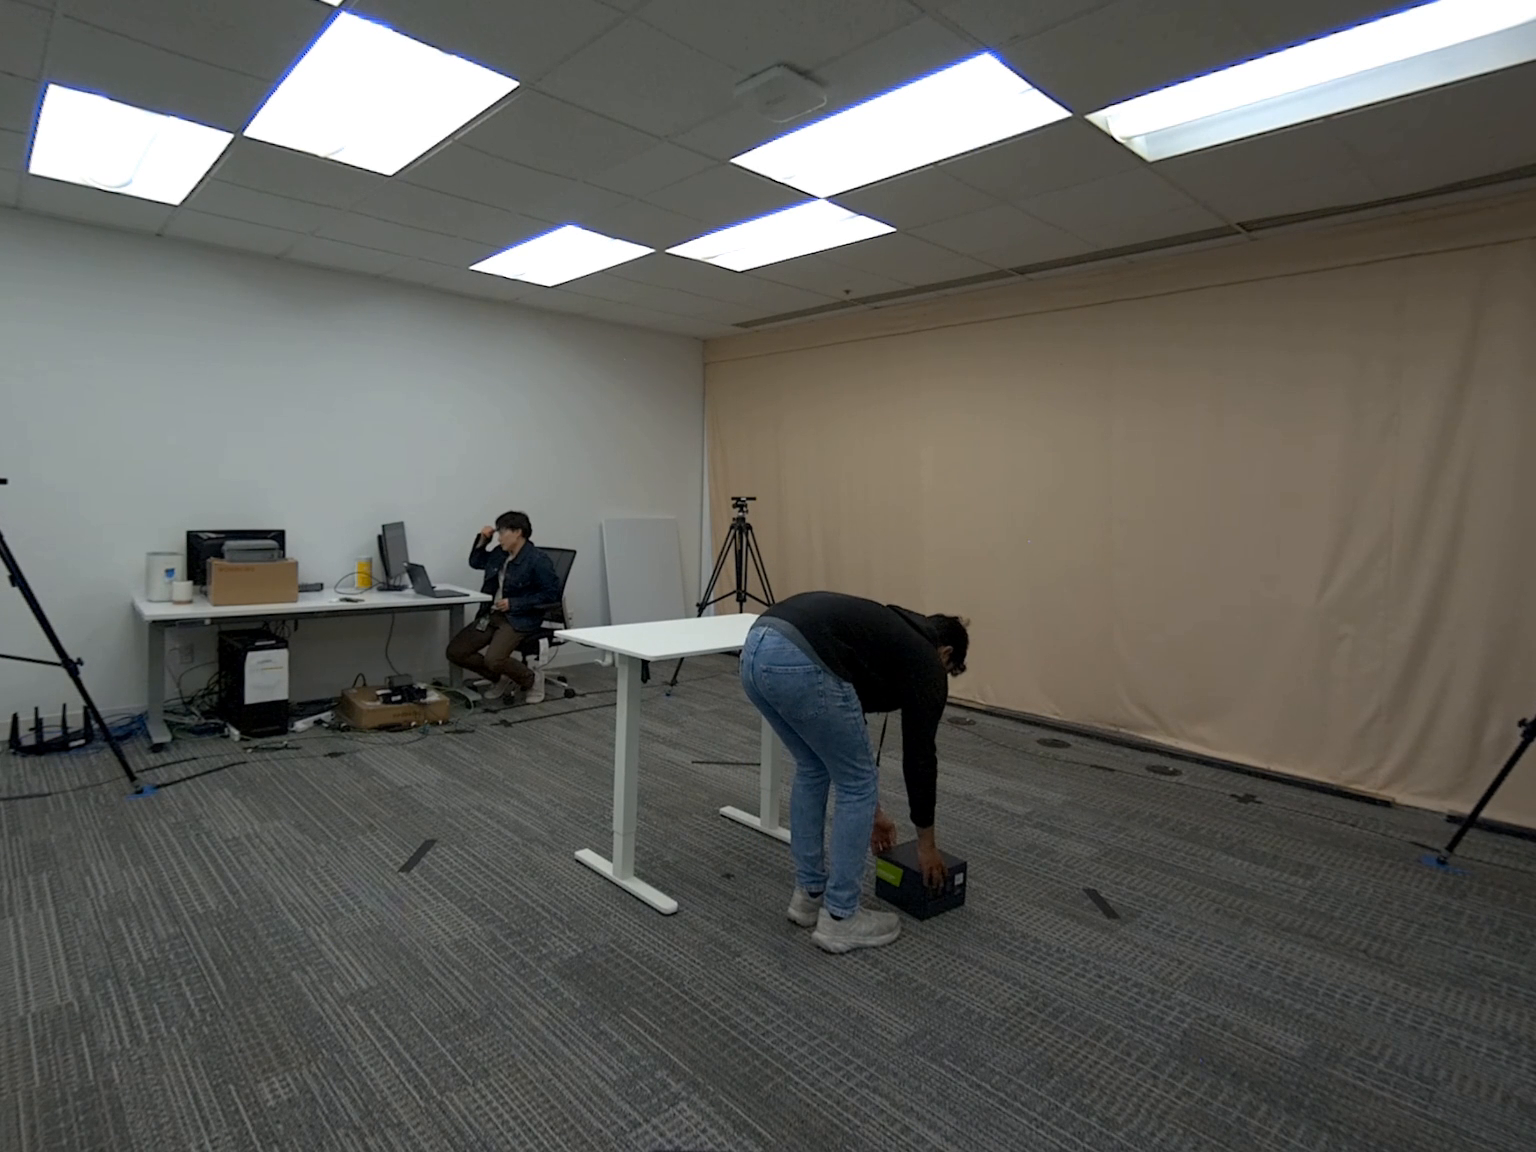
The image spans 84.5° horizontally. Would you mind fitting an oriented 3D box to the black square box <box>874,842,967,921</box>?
[{"bbox_3d":[0.530,1.051,2.948,0.212,0.155,0.234,-1,6,-37],"label":"black square box"}]
